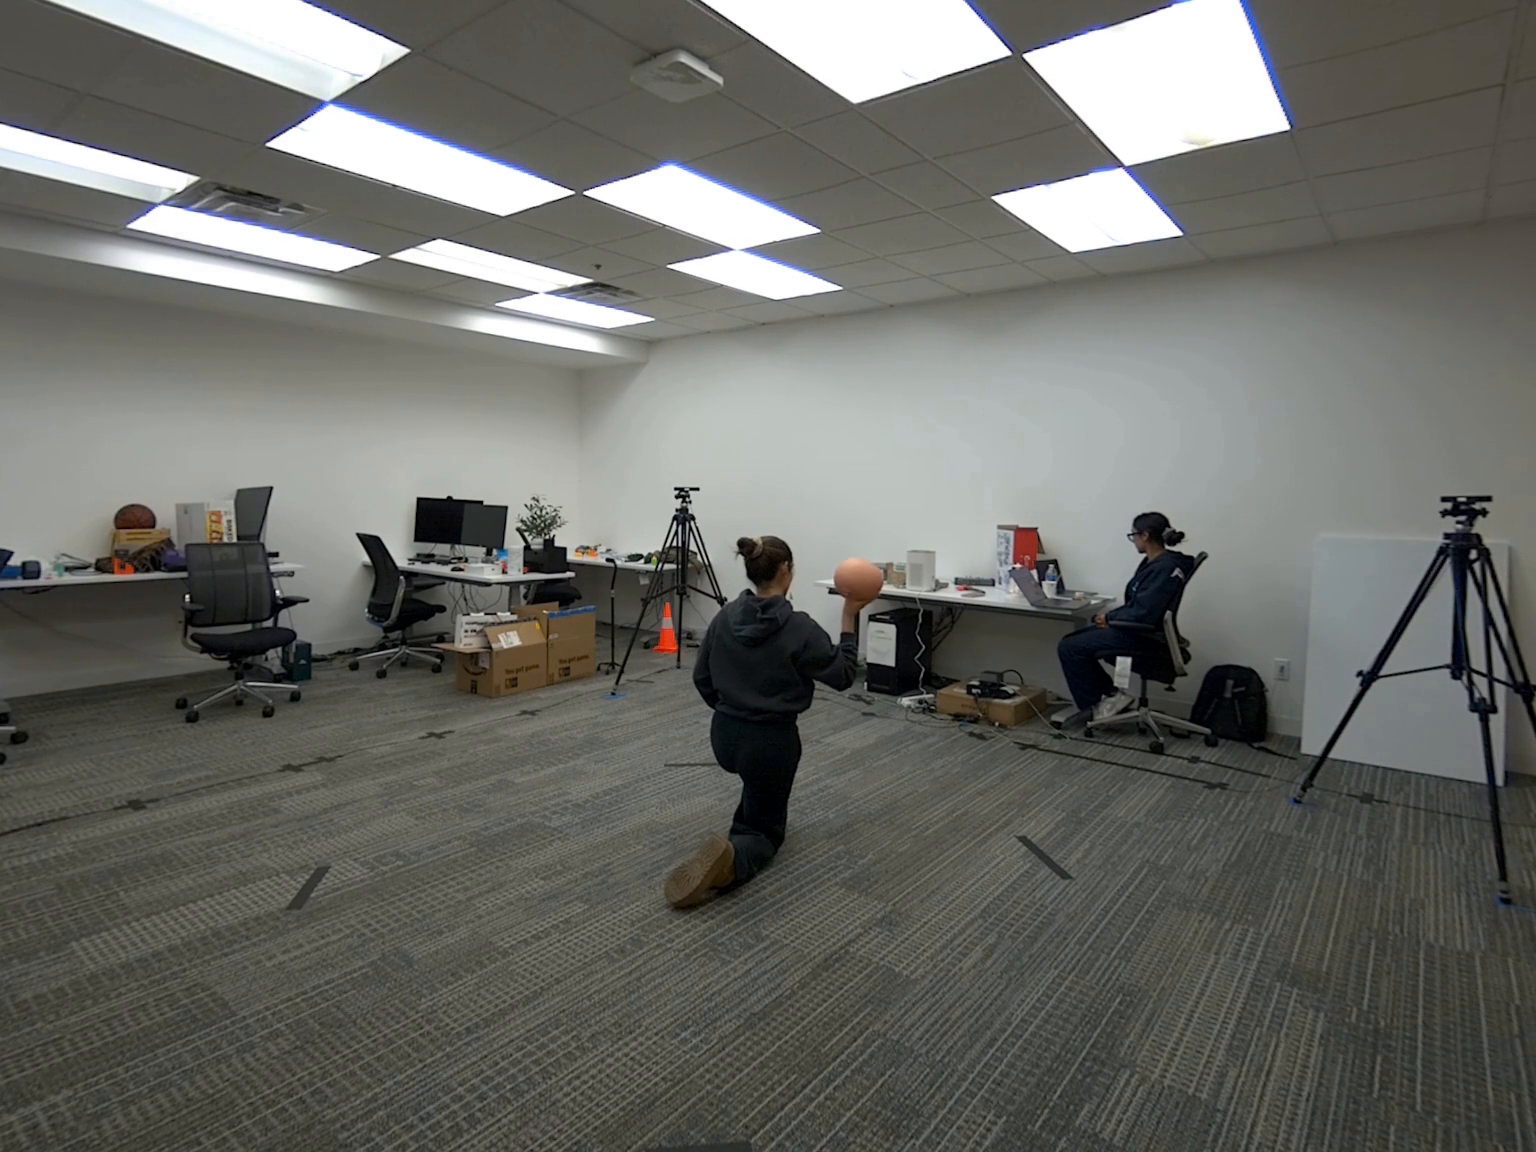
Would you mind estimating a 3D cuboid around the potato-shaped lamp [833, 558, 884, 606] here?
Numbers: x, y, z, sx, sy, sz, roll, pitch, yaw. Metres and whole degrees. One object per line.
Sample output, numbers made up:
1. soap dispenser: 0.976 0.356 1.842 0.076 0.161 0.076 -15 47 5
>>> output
1. potato-shaped lamp: 0.346 0.012 3.211 0.165 0.165 0.205 30 -10 -31
